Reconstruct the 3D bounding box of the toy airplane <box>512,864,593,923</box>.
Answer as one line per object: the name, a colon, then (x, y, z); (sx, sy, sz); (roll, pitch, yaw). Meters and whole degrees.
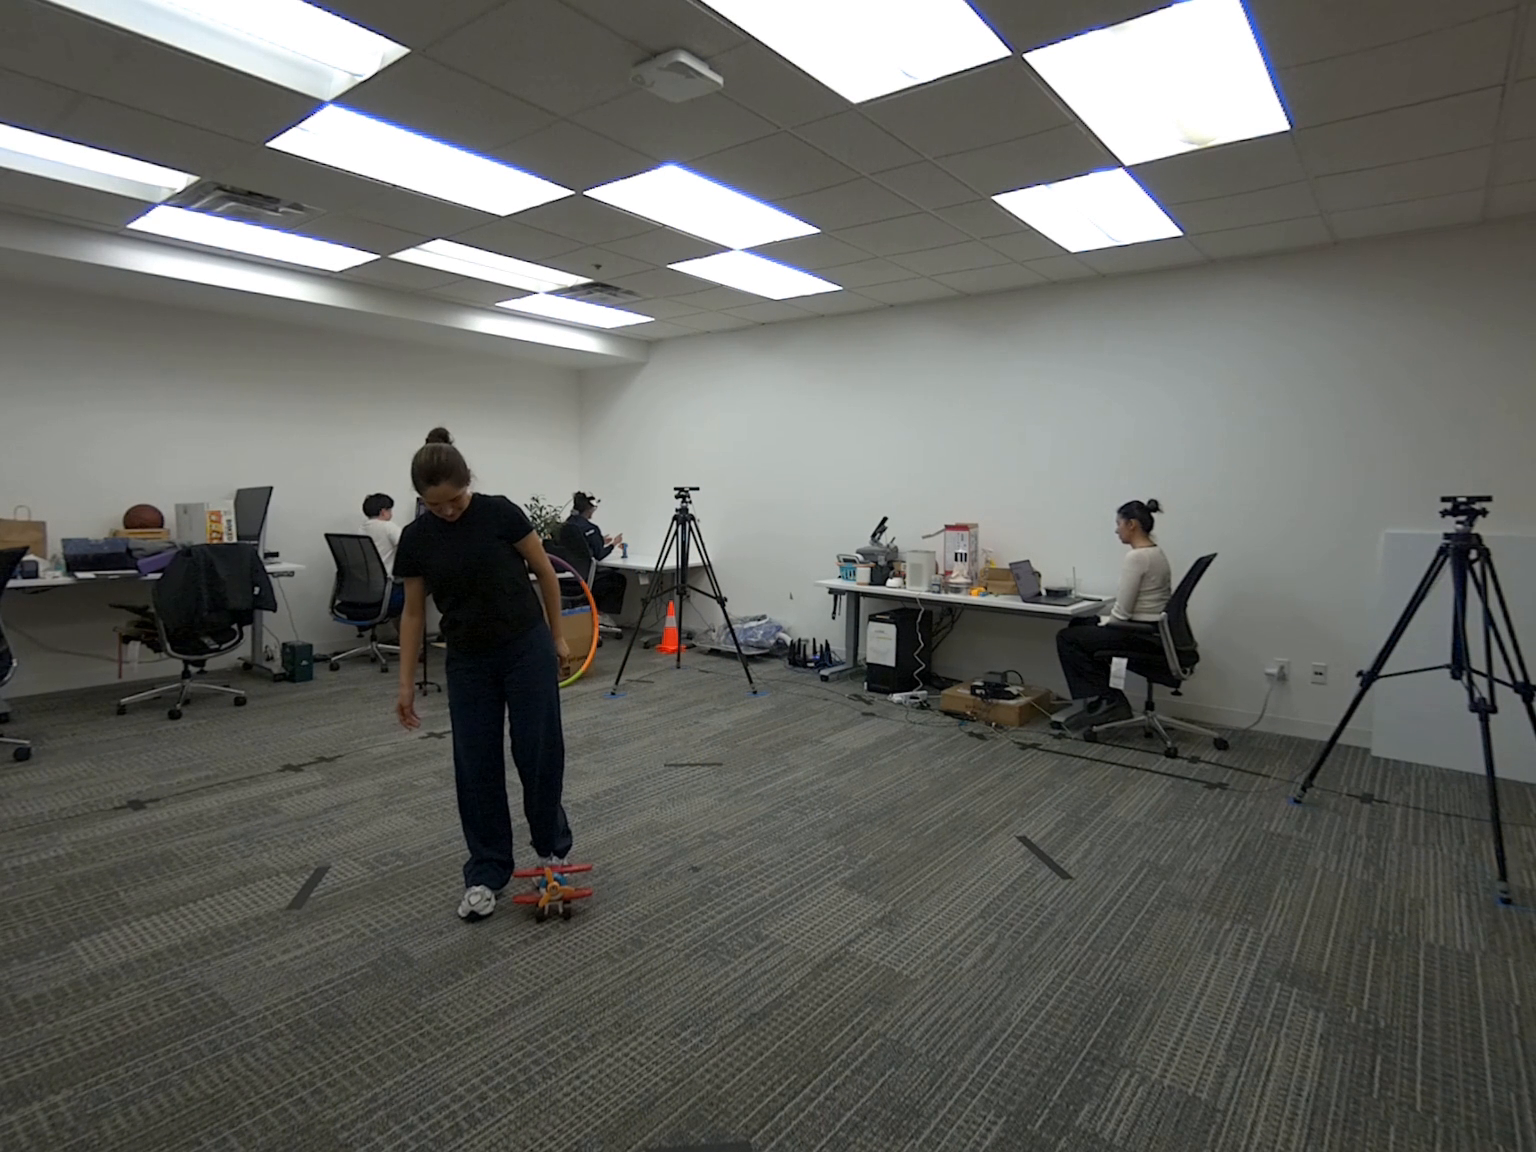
toy airplane: (-0.716, 1.014, 2.817); (0.244, 0.156, 0.268); (-5, 7, -41)
